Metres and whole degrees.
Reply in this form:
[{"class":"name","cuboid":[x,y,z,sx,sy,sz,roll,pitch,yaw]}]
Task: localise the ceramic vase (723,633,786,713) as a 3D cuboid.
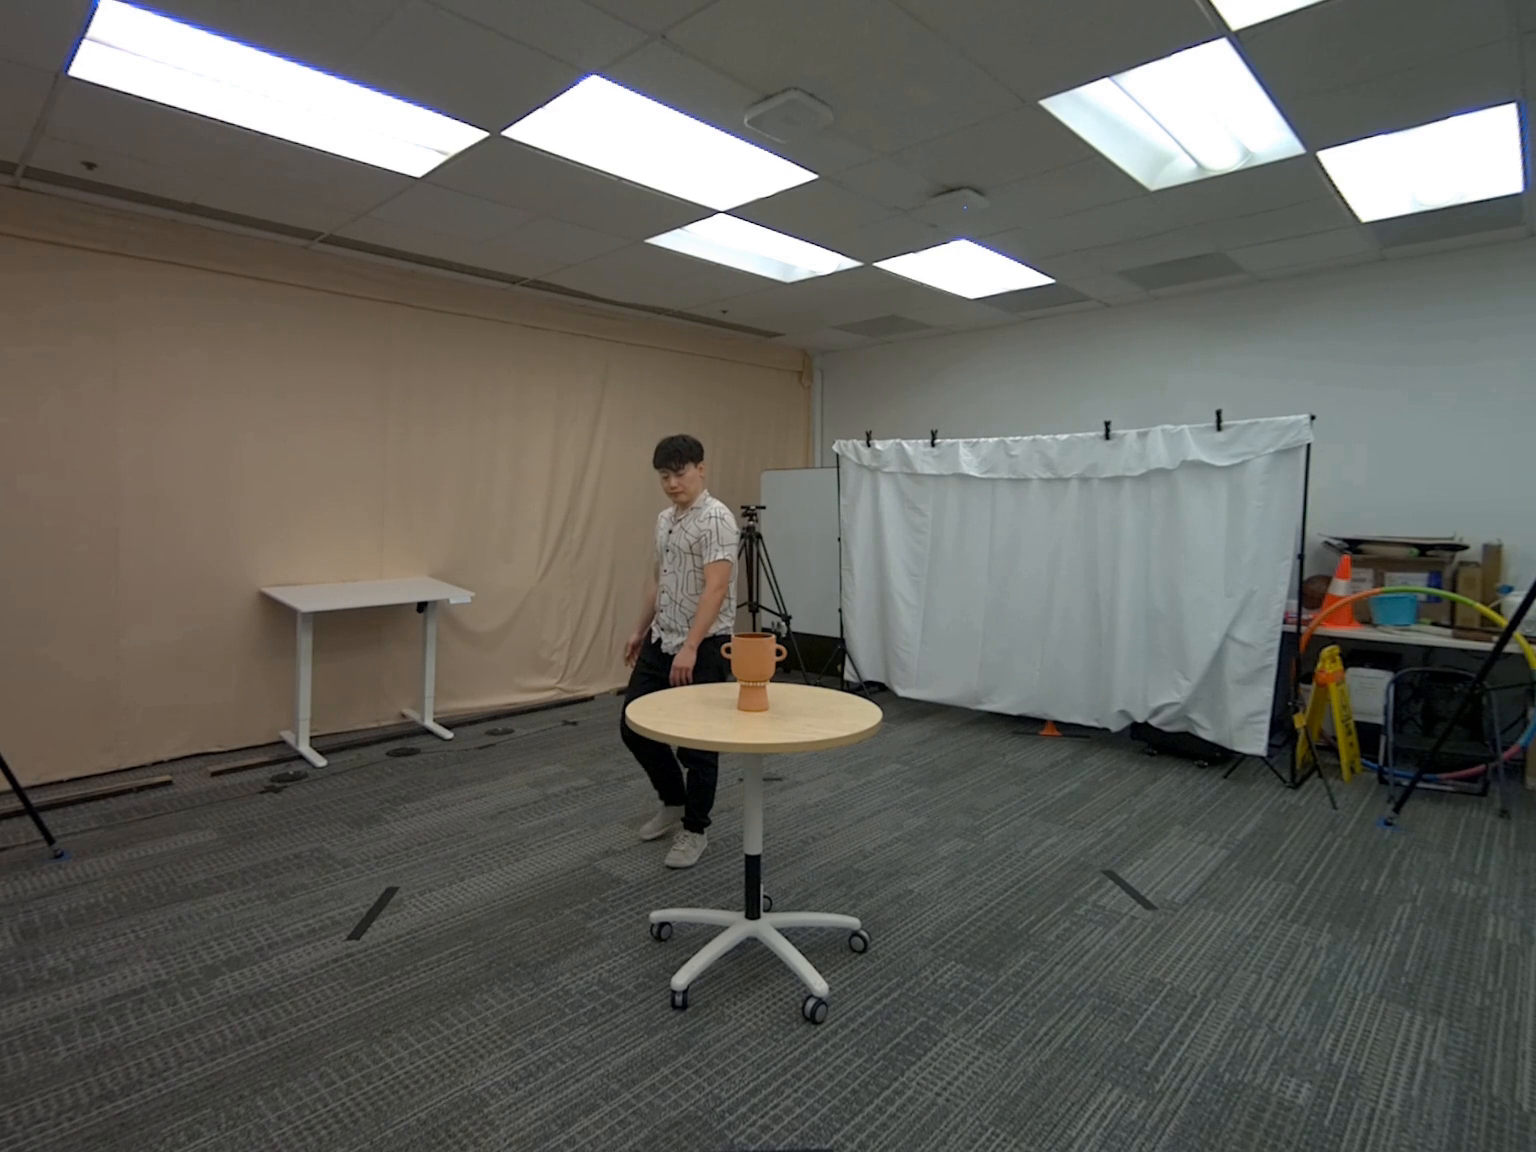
[{"class":"ceramic vase","cuboid":[-0.039,0.292,2.527,0.130,0.219,0.164,-1,3,-40]}]
